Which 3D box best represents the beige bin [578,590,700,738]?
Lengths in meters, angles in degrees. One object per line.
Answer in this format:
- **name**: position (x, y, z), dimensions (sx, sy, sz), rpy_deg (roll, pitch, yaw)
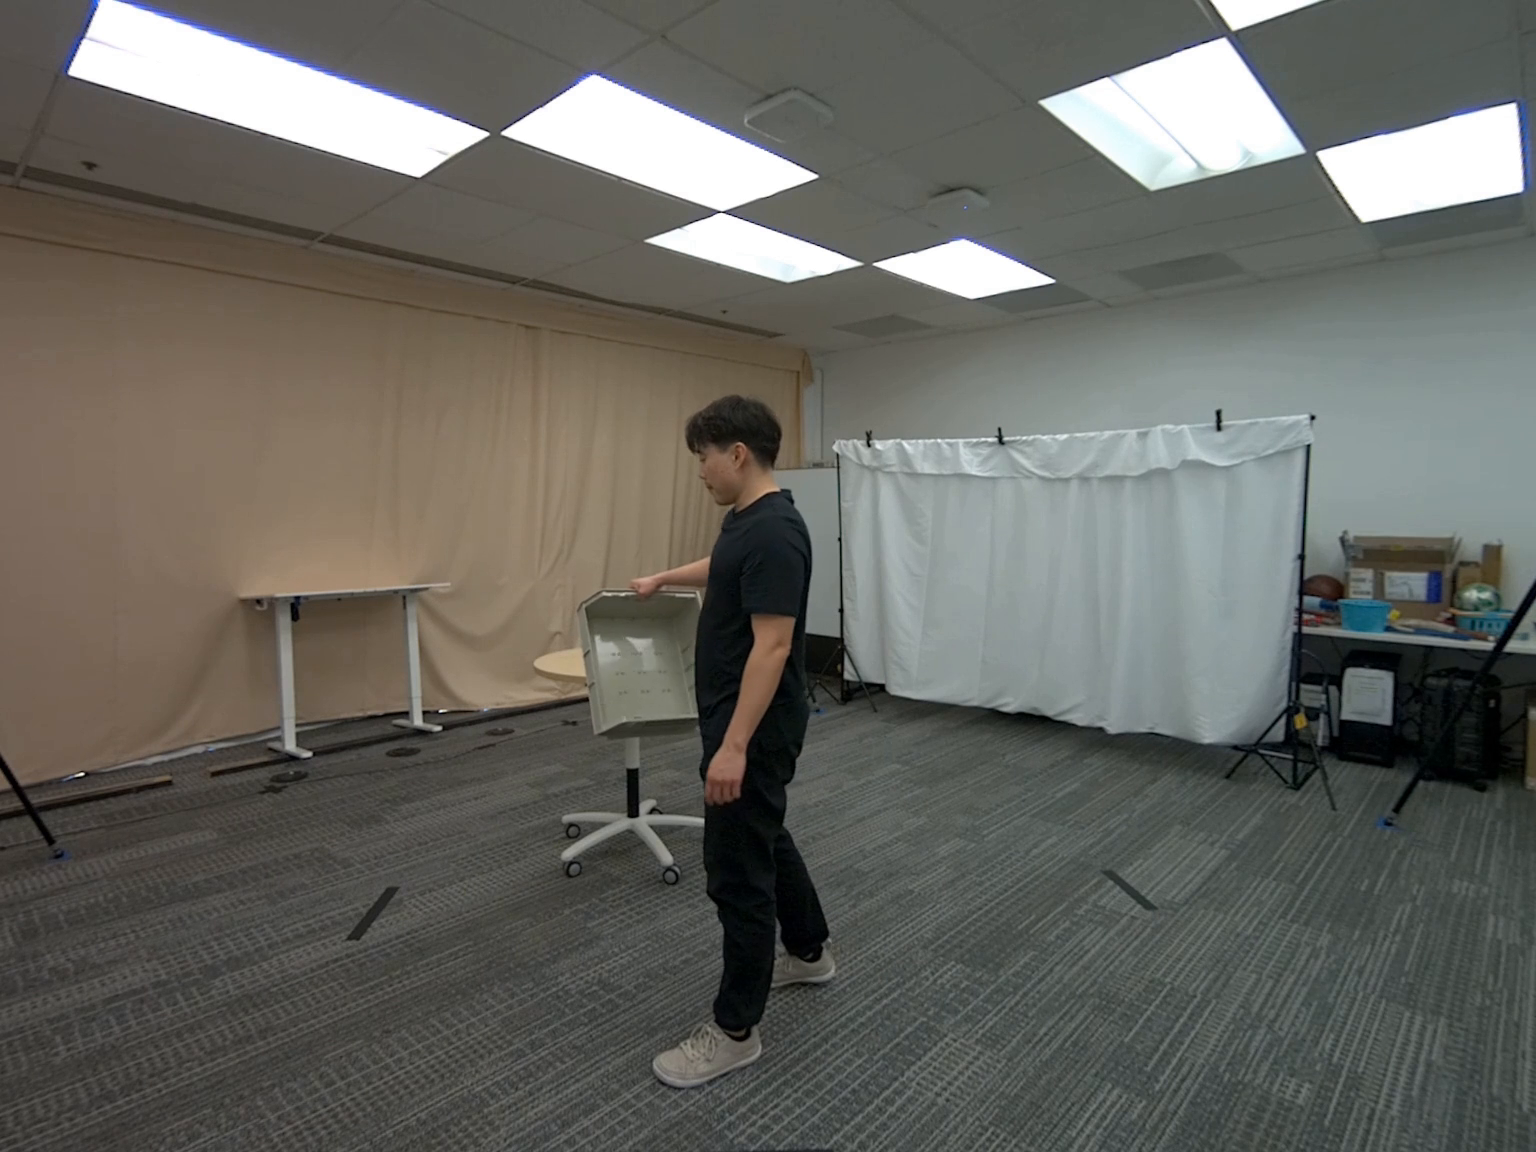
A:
- **beige bin**: position (-0.368, 0.273, 2.615), dimensions (0.366, 0.431, 0.191), rpy_deg (4, -31, -33)
